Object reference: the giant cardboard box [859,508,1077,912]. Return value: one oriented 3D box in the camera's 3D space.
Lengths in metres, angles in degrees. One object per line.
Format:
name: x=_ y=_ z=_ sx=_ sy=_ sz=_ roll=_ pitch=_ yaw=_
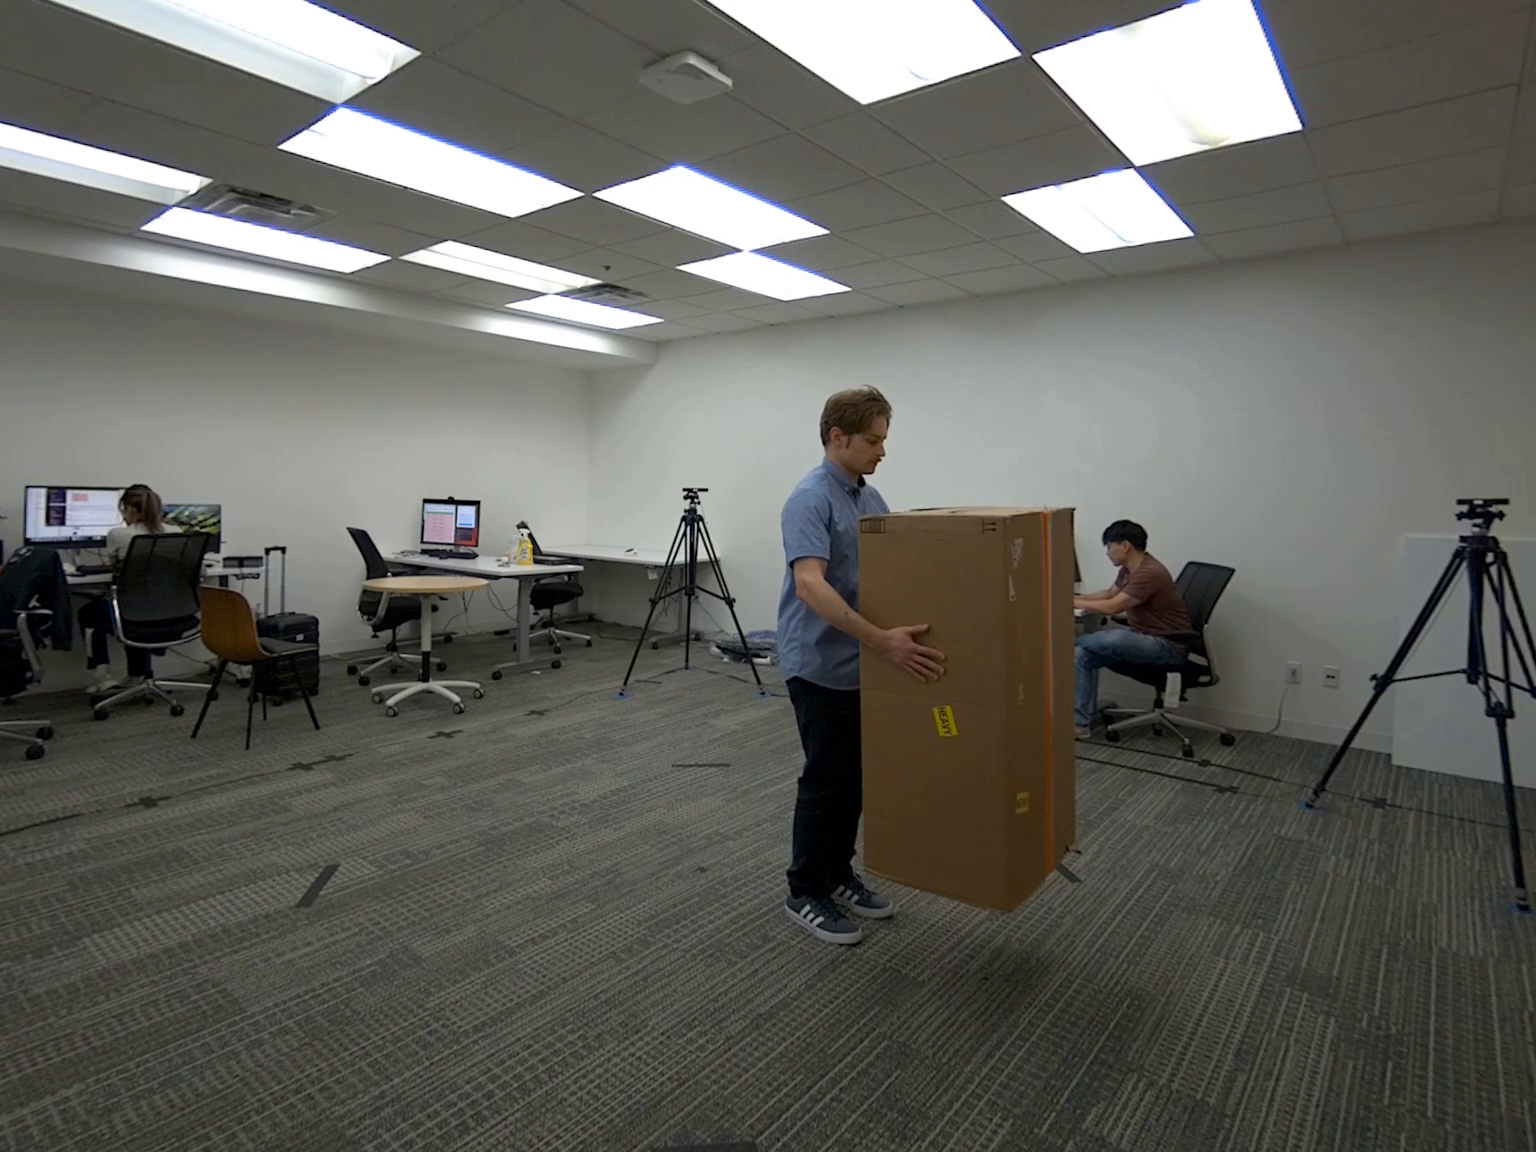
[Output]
giant cardboard box: x=0.590 y=0.325 z=2.484 sx=0.440 sy=1.023 sz=0.561 roll=1 pitch=4 yaw=38
